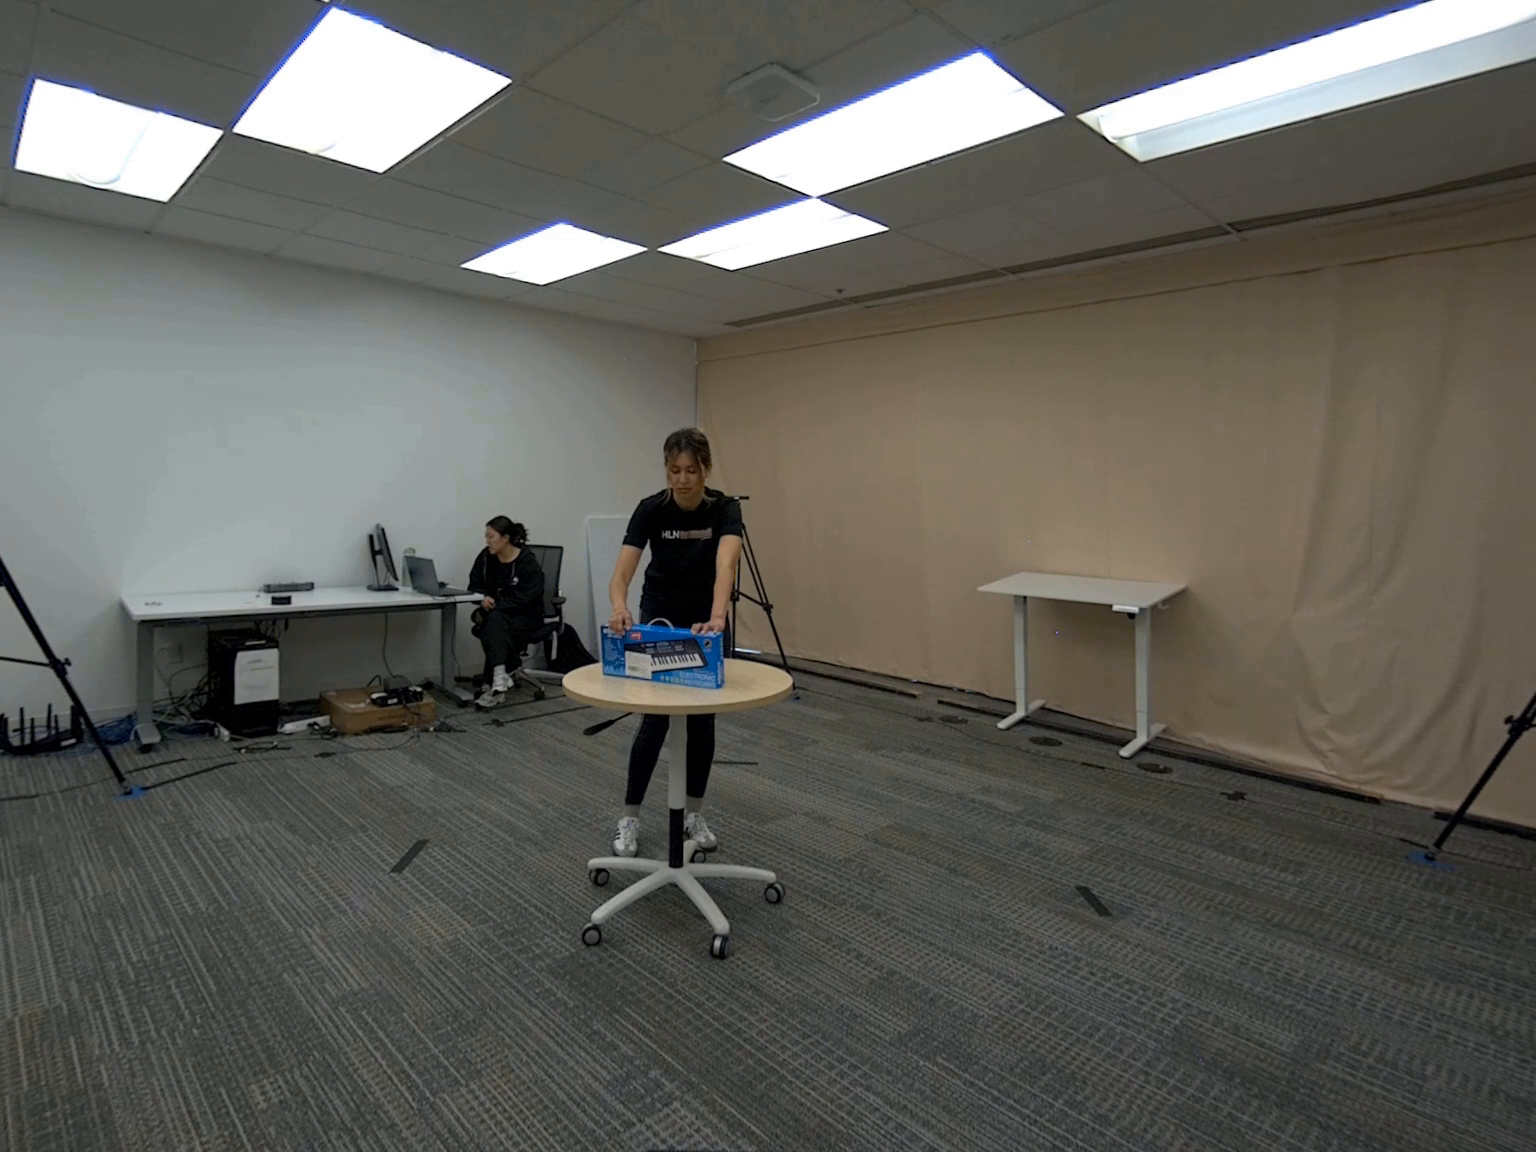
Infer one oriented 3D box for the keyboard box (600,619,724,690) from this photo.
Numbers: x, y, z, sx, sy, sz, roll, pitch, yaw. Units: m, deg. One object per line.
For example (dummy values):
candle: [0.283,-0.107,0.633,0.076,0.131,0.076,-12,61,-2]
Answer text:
keyboard box: [-0.366,0.261,2.757,0.445,0.175,0.058,3,10,26]
